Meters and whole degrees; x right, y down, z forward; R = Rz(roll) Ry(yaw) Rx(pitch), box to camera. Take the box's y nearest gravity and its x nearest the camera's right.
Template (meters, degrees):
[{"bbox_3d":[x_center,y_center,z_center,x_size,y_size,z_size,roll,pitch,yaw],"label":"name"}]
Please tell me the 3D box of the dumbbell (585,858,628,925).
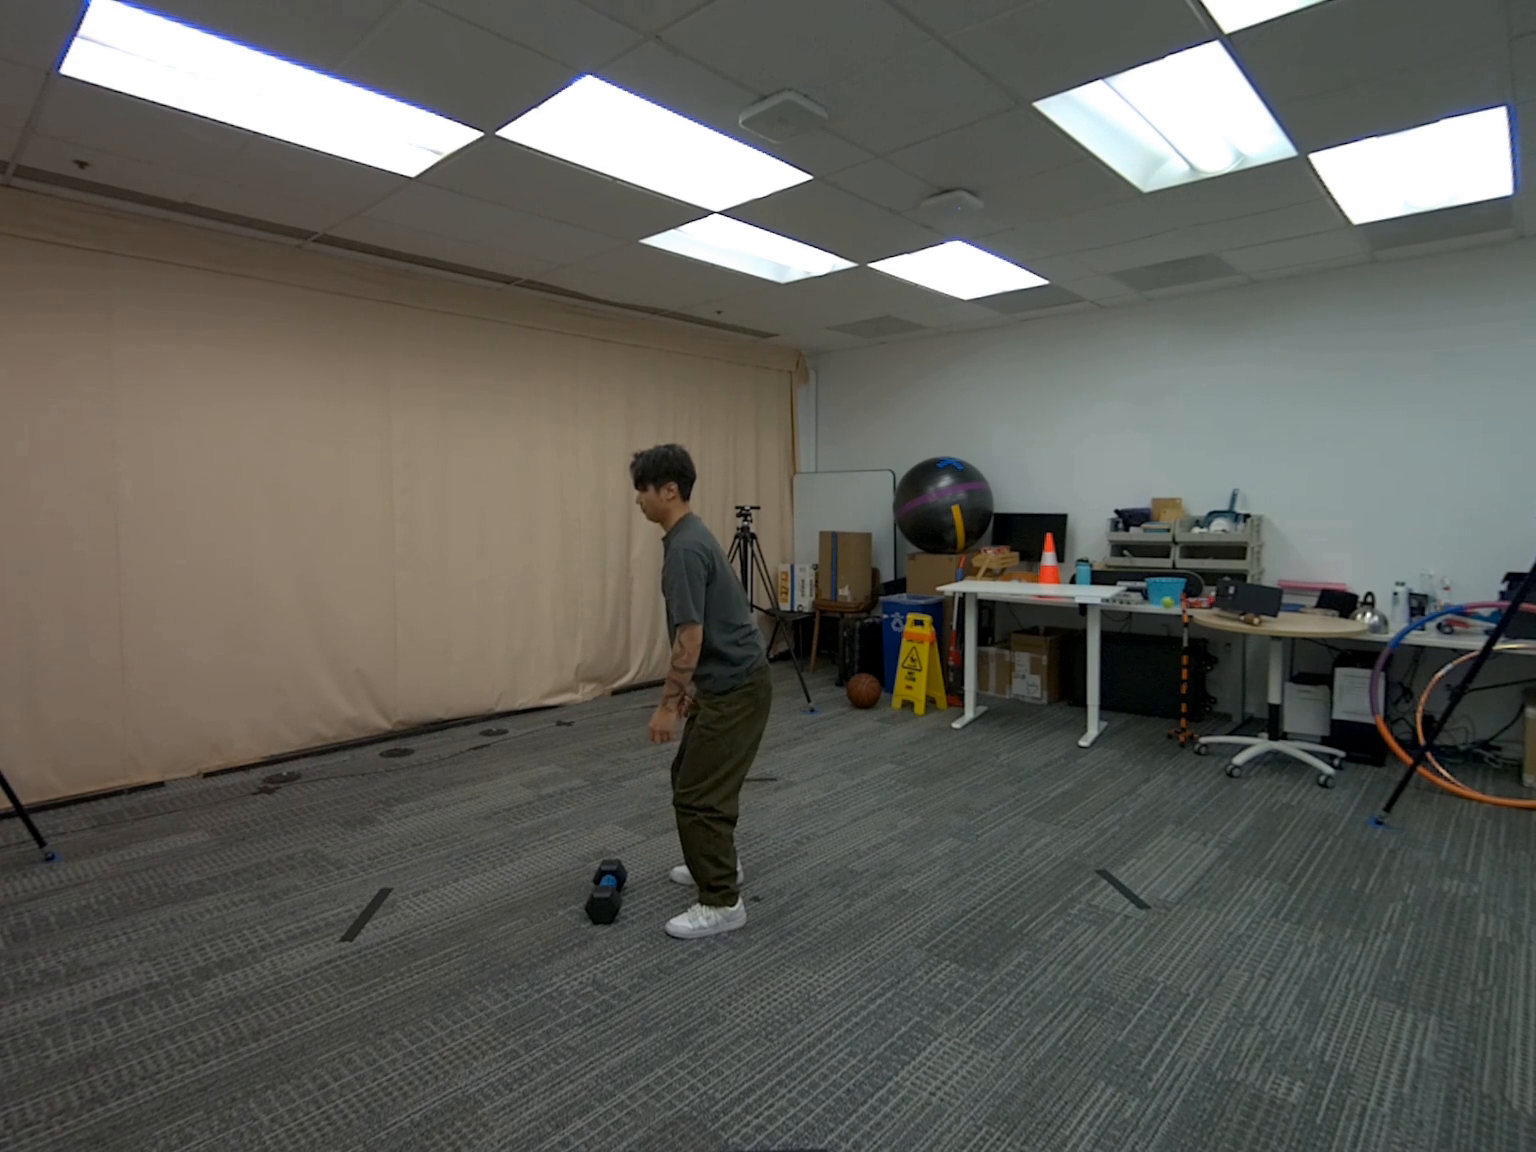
[{"bbox_3d":[-0.567,1.105,2.941,0.108,0.123,0.295,29,2,-6],"label":"dumbbell"}]
